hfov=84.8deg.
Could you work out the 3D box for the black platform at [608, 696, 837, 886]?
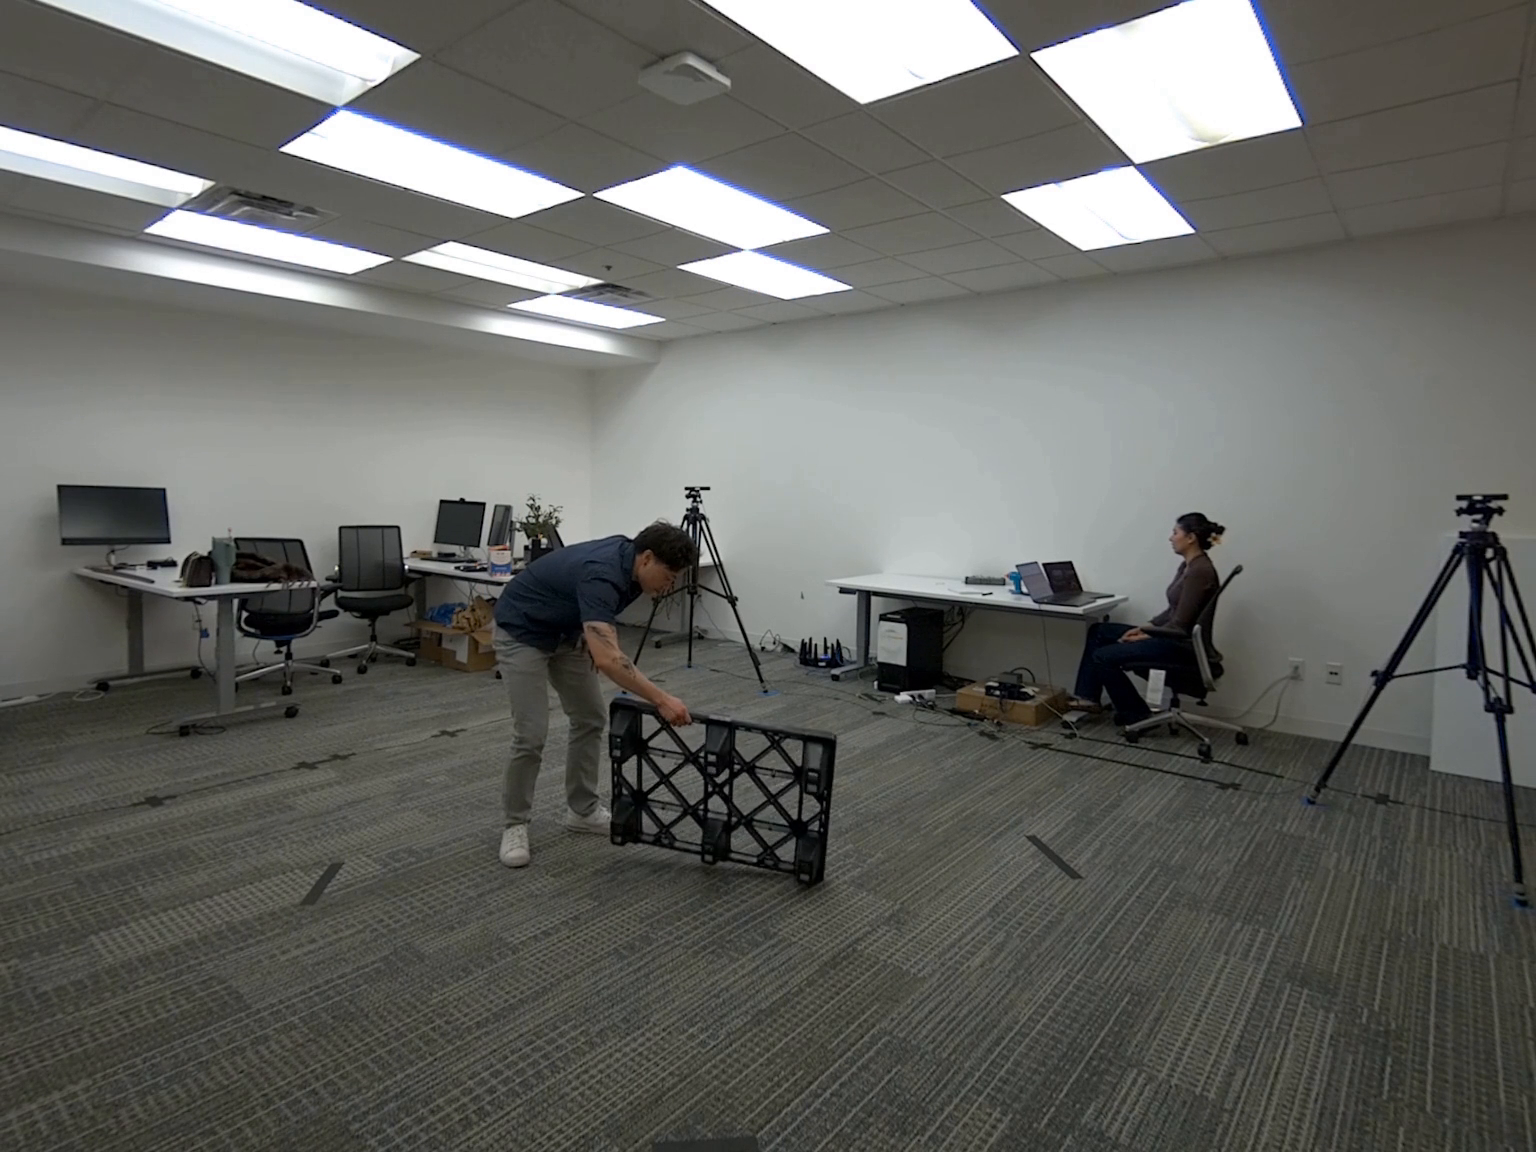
[{"bbox_3d":[-0.193,0.774,2.975,0.816,0.594,0.144,7,21,11],"label":"black platform"}]
